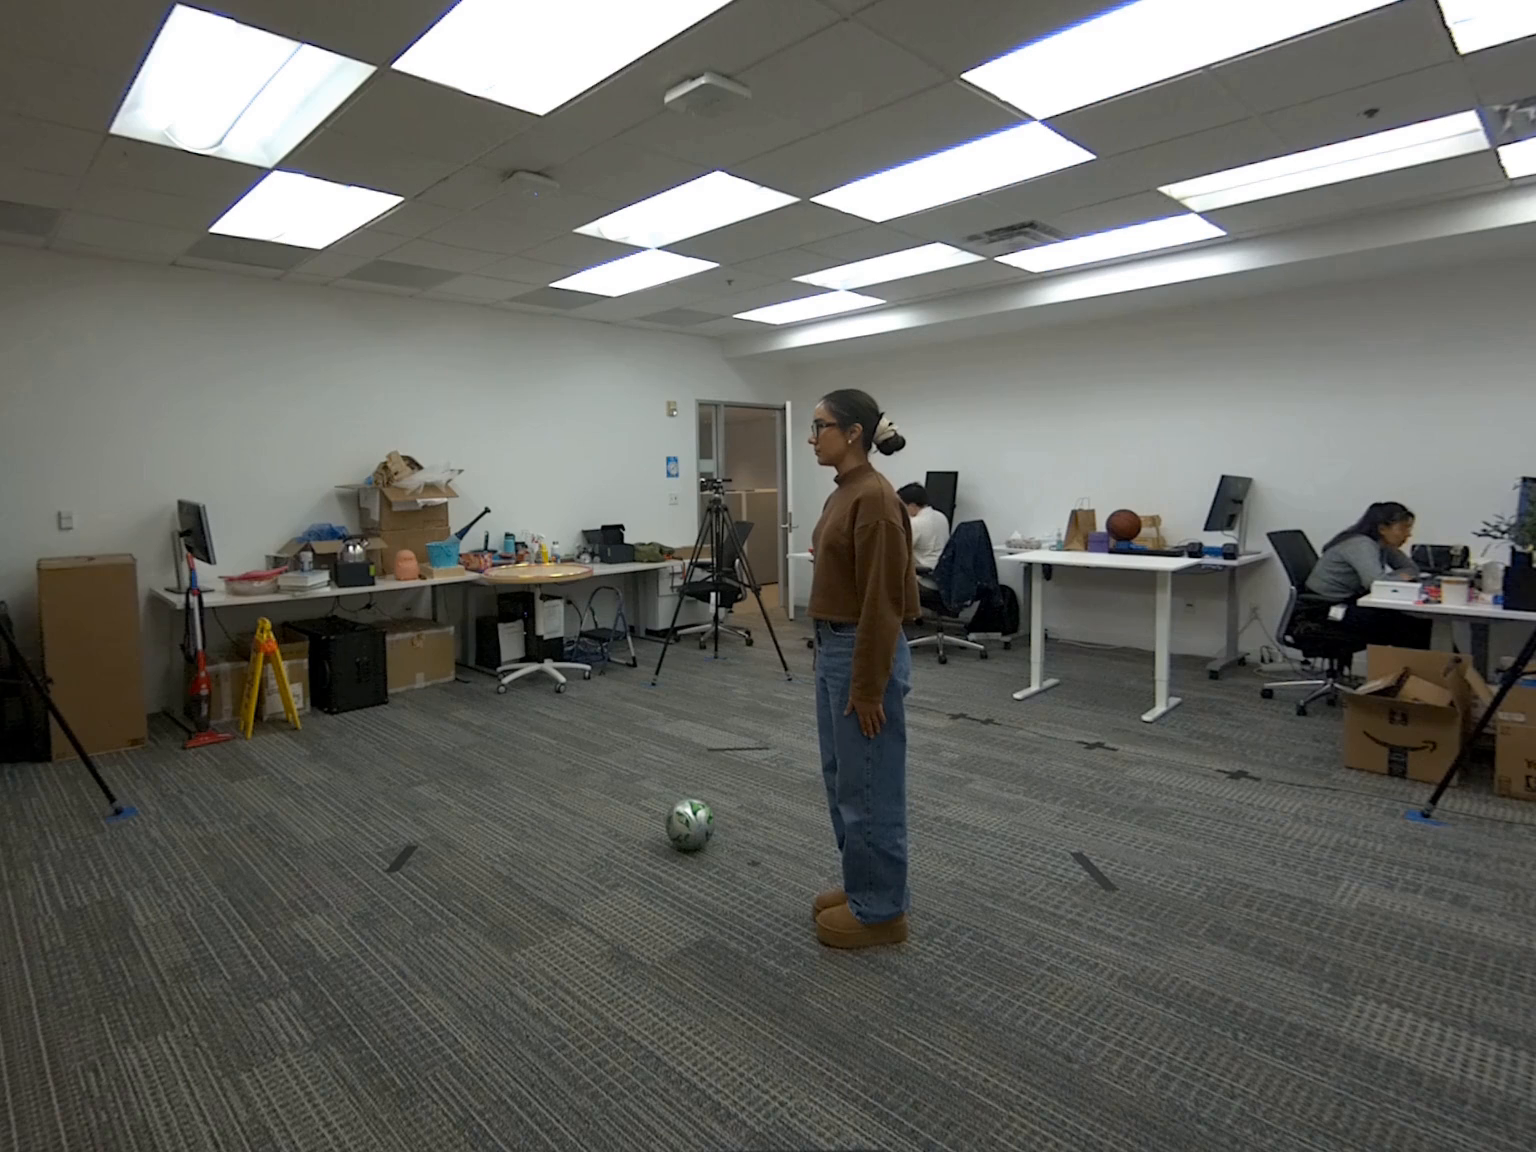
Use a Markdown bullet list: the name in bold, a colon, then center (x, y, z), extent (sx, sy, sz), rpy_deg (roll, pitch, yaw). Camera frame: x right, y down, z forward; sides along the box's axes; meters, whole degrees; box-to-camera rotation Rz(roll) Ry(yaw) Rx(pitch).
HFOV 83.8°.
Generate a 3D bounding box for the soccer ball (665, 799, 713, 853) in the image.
- **soccer ball**: center (-0.293, 0.940, 3.240), extent (0.187, 0.187, 0.188), rpy_deg (-1, 5, -2)
